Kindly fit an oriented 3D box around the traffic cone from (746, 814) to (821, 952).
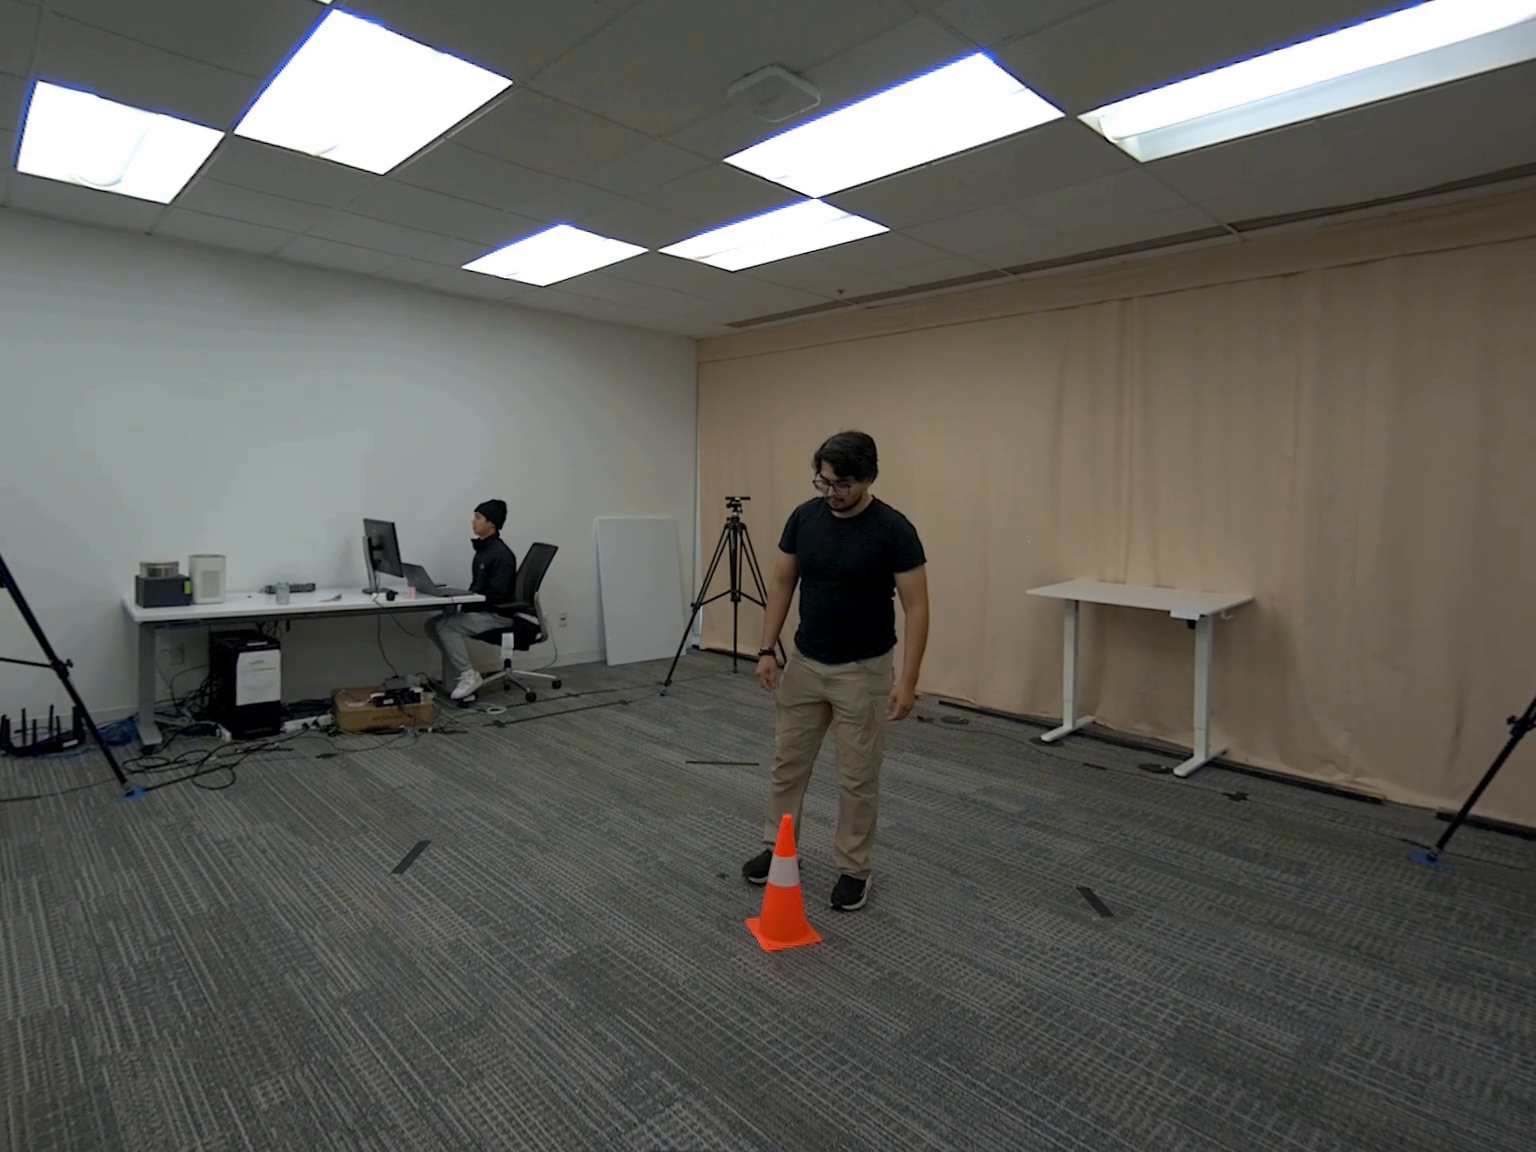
[{"bbox_3d":[0.050,0.964,2.702,0.201,0.383,0.207,1,4,-24],"label":"traffic cone"}]
